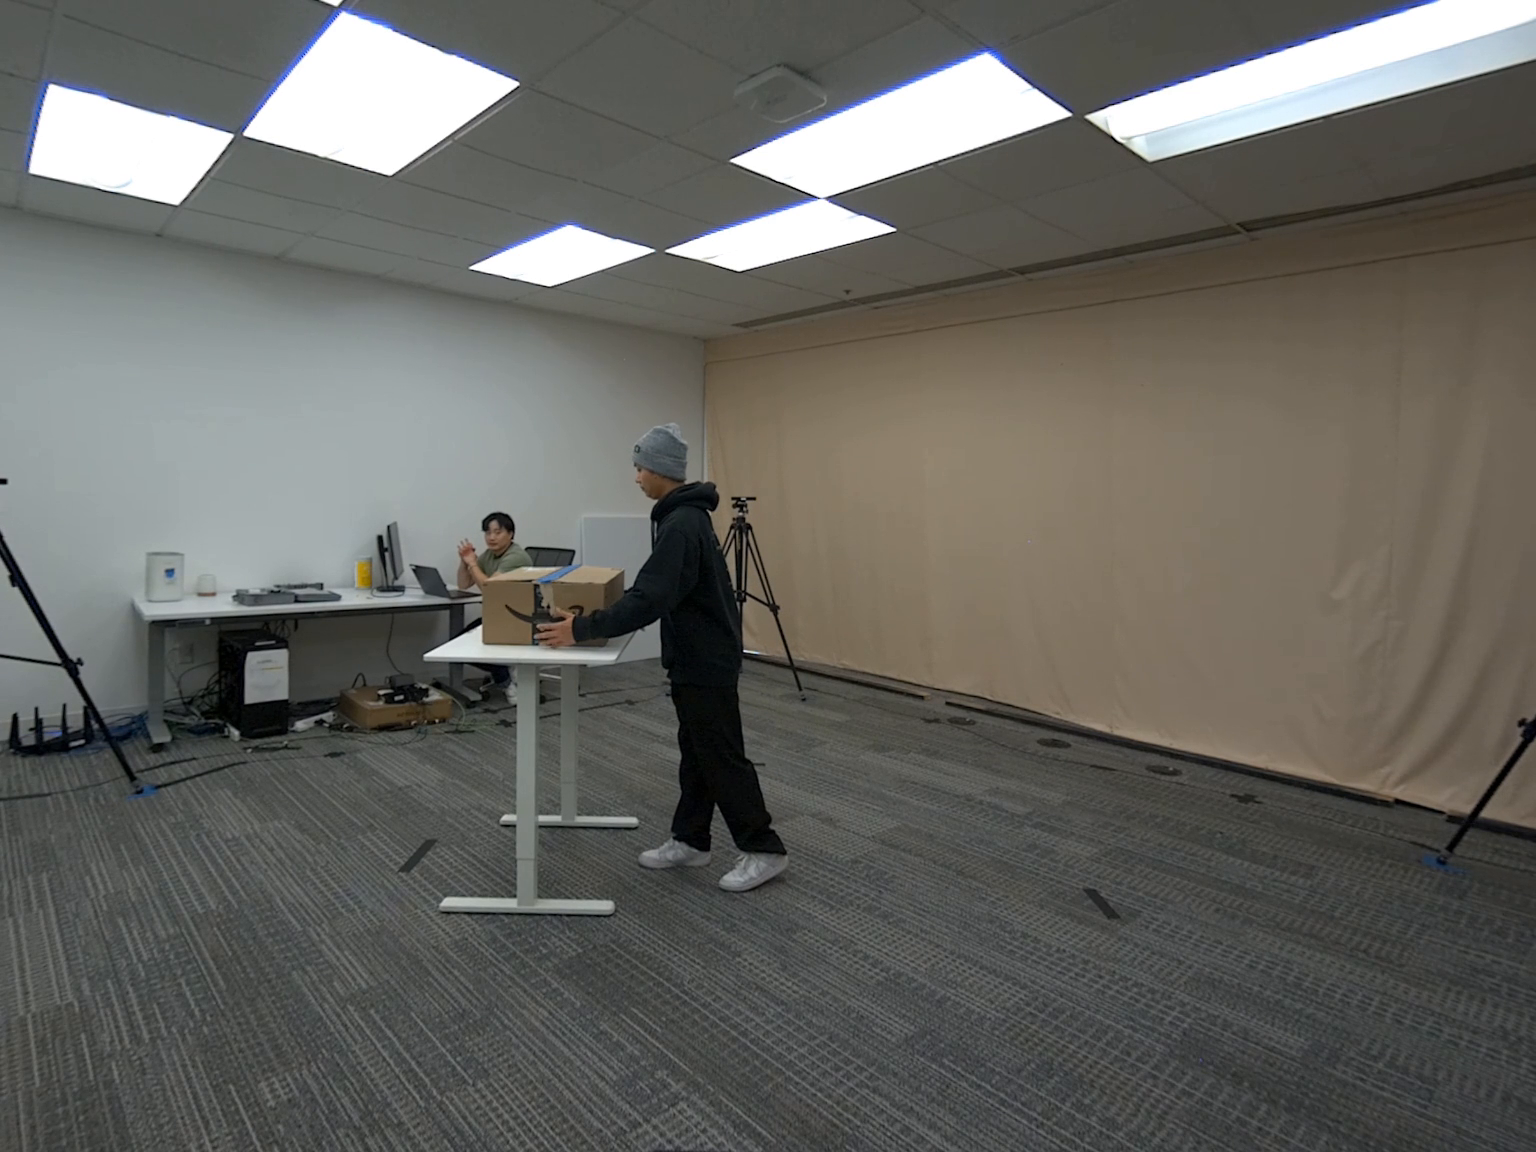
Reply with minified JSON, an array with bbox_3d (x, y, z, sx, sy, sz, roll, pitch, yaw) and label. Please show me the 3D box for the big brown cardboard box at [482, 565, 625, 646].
[{"bbox_3d":[-0.768,0.099,3.119,0.417,0.232,0.592,1,6,-2],"label":"big brown cardboard box"}]
